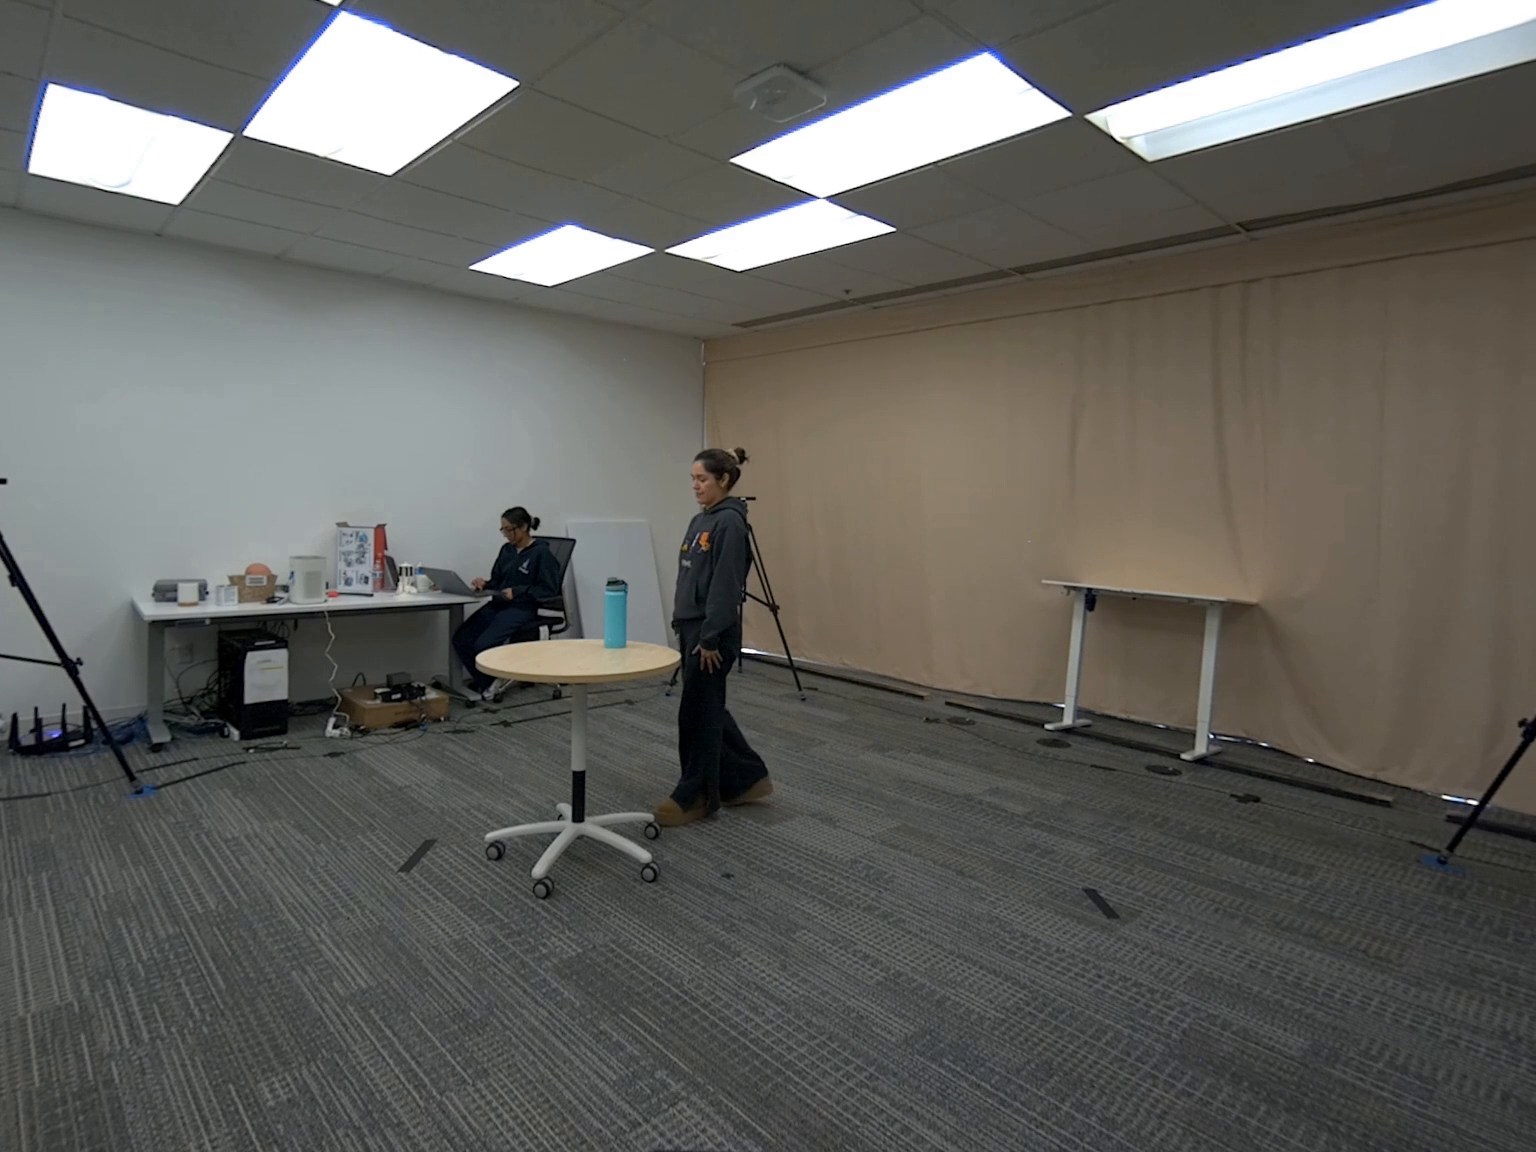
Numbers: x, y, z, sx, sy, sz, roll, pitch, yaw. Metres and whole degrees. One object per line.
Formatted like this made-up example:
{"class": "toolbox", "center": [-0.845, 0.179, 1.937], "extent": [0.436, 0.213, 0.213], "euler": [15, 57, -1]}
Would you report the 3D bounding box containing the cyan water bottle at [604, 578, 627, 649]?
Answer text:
{"class": "cyan water bottle", "center": [-0.625, 0.147, 3.409], "extent": [0.092, 0.283, 0.092], "euler": [2, 2, -1]}
